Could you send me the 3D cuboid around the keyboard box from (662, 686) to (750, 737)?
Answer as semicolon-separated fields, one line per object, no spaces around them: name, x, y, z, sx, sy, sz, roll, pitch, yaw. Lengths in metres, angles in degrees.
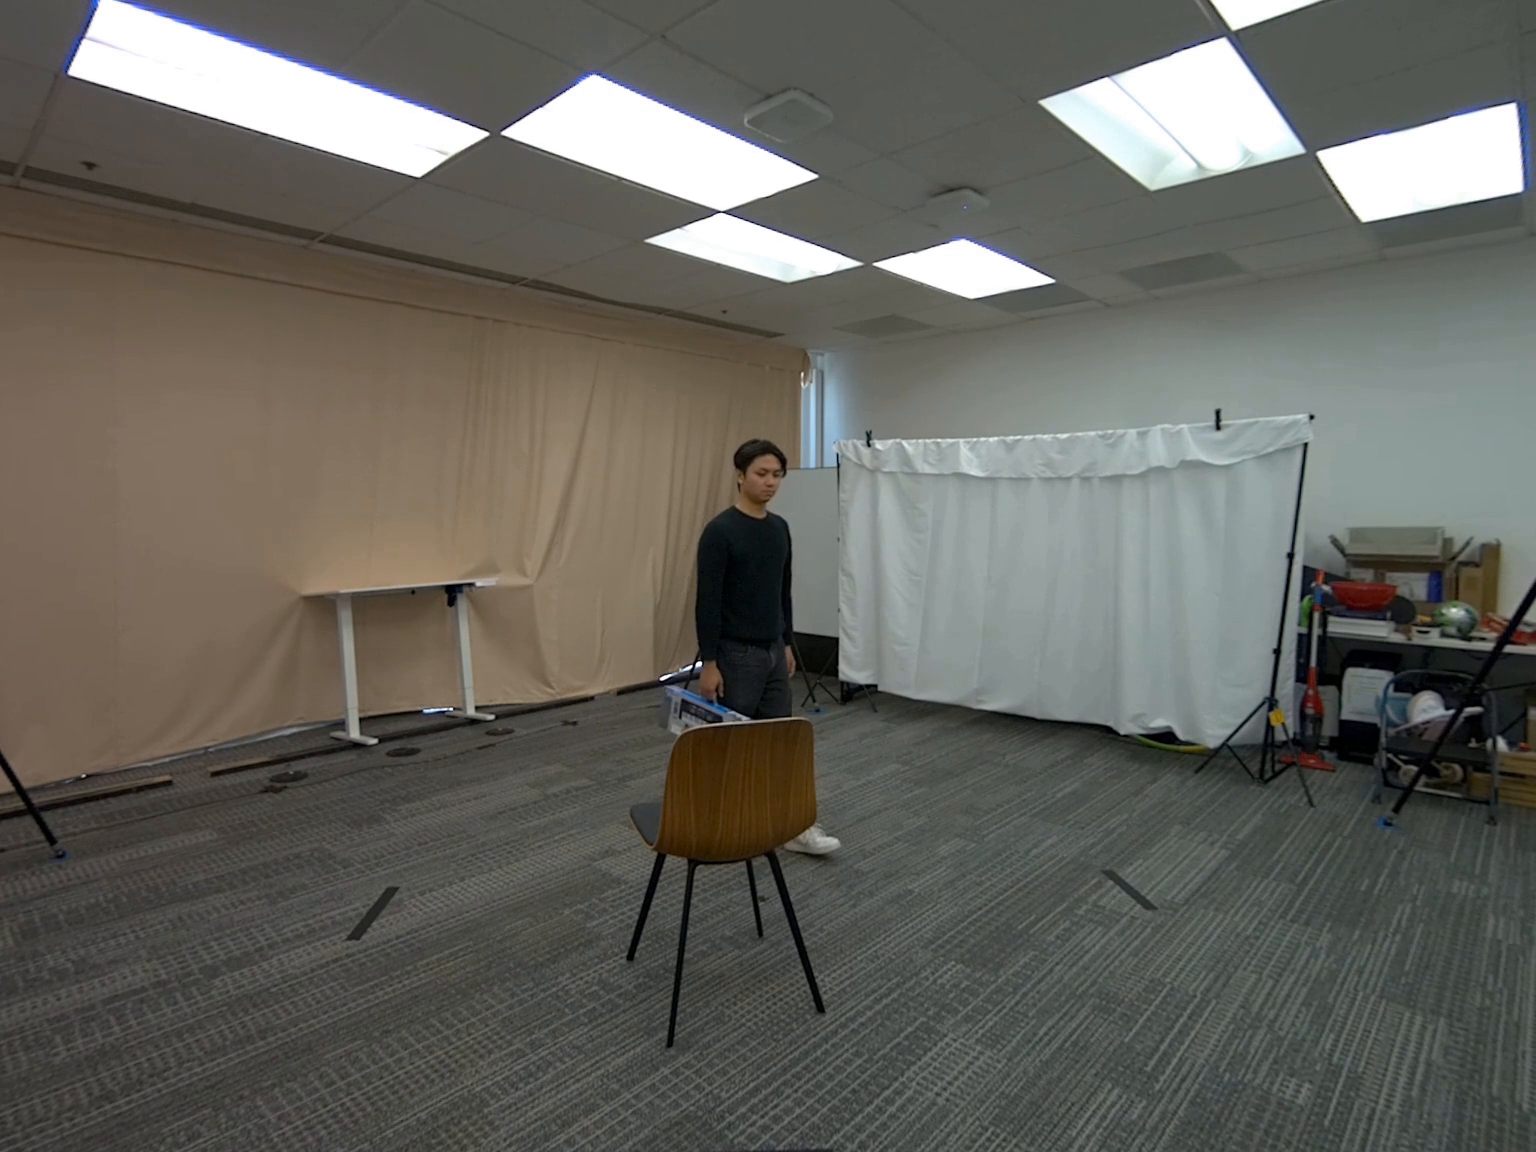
keyboard box;-0.240;0.575;3.309;0.452;0.175;0.057;14;8;39
